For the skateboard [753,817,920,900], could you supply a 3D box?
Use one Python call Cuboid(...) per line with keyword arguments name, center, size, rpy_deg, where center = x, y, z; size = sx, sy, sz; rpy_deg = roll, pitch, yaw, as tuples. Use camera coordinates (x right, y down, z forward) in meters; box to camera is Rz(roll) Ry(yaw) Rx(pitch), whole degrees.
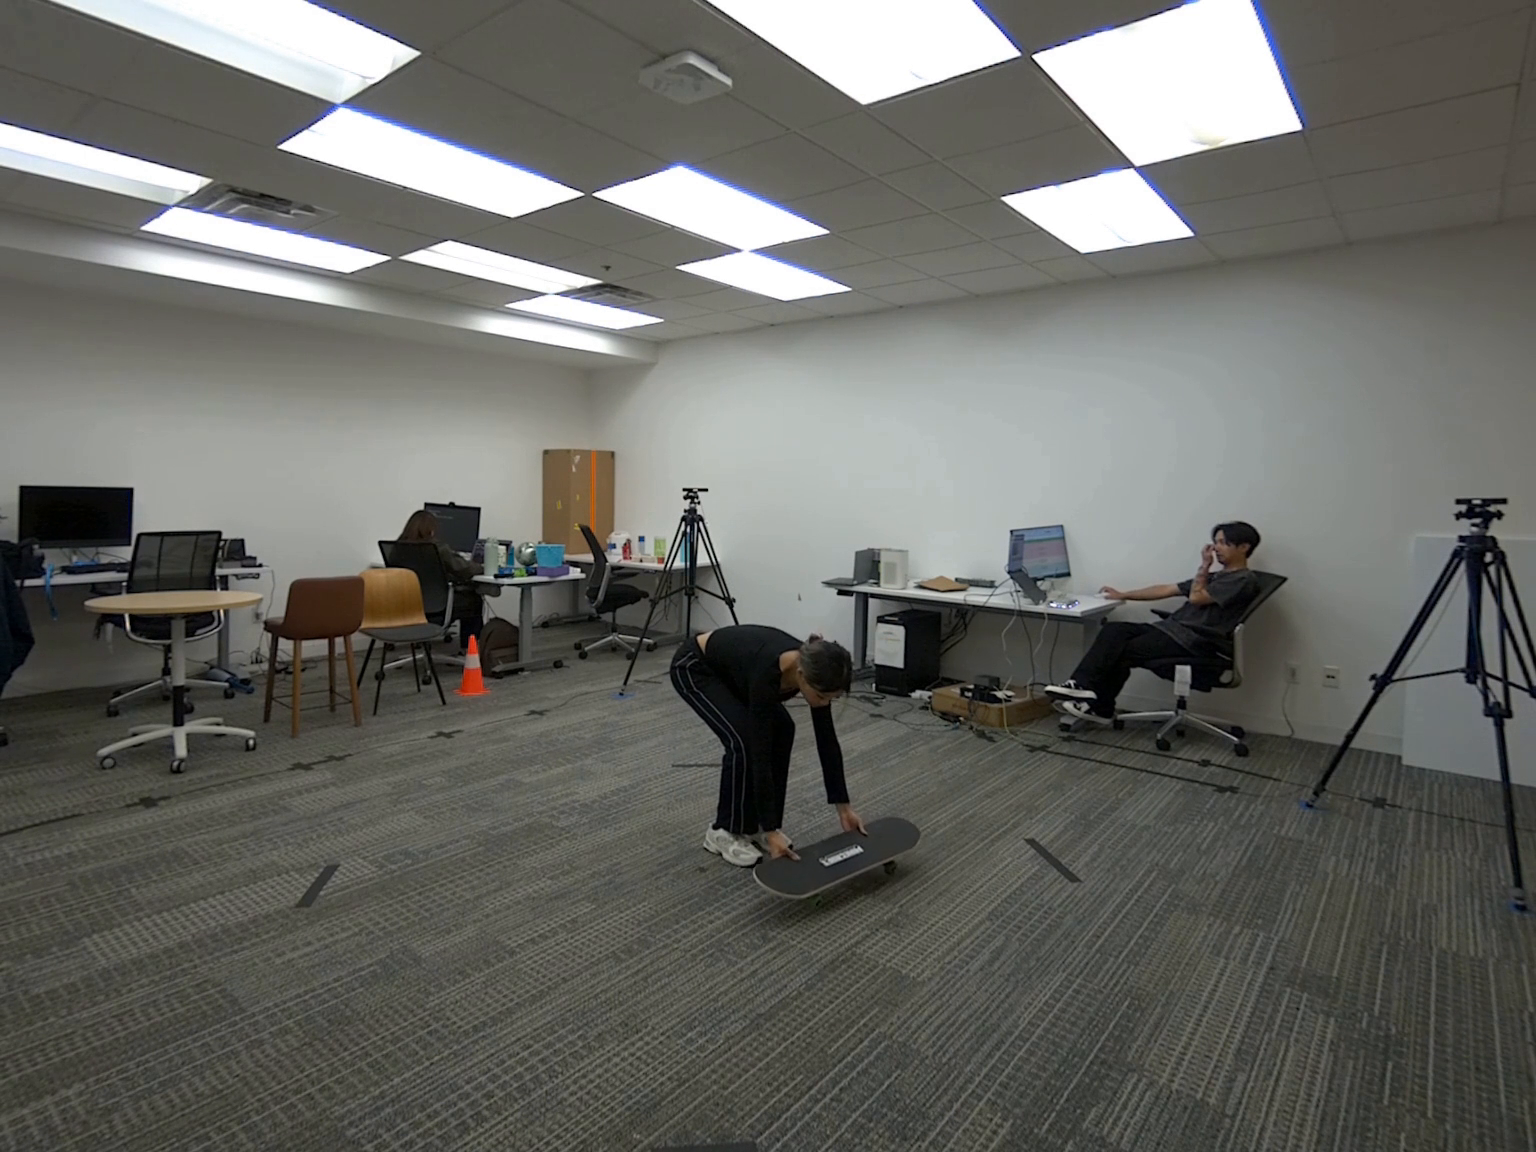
Cuboid(name="skateboard", center=(0.249, 0.999, 2.972), size=(0.762, 0.109, 0.201), rpy_deg=(-4, 21, -41))
